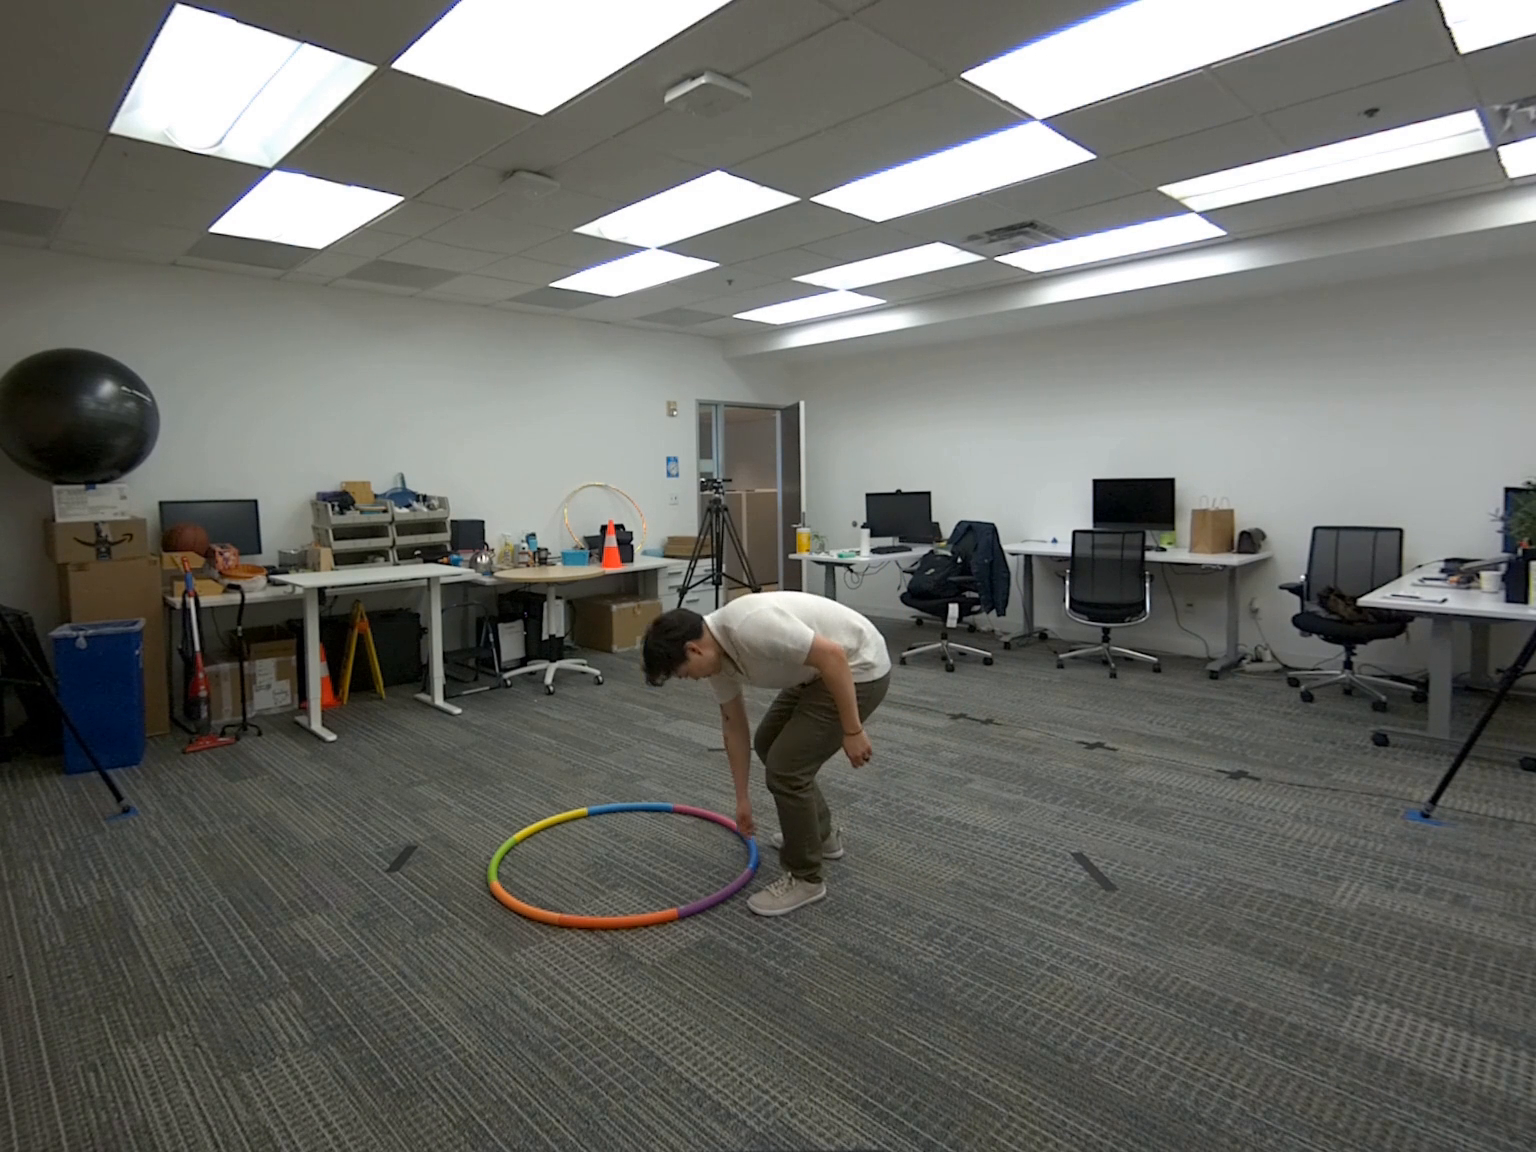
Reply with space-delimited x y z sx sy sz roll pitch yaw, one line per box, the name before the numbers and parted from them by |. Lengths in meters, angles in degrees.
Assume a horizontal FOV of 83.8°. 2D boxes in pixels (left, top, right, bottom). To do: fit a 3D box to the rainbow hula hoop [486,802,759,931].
rainbow hula hoop | -0.519 1.017 3.149 0.978 0.035 0.984 -1 6 -2
